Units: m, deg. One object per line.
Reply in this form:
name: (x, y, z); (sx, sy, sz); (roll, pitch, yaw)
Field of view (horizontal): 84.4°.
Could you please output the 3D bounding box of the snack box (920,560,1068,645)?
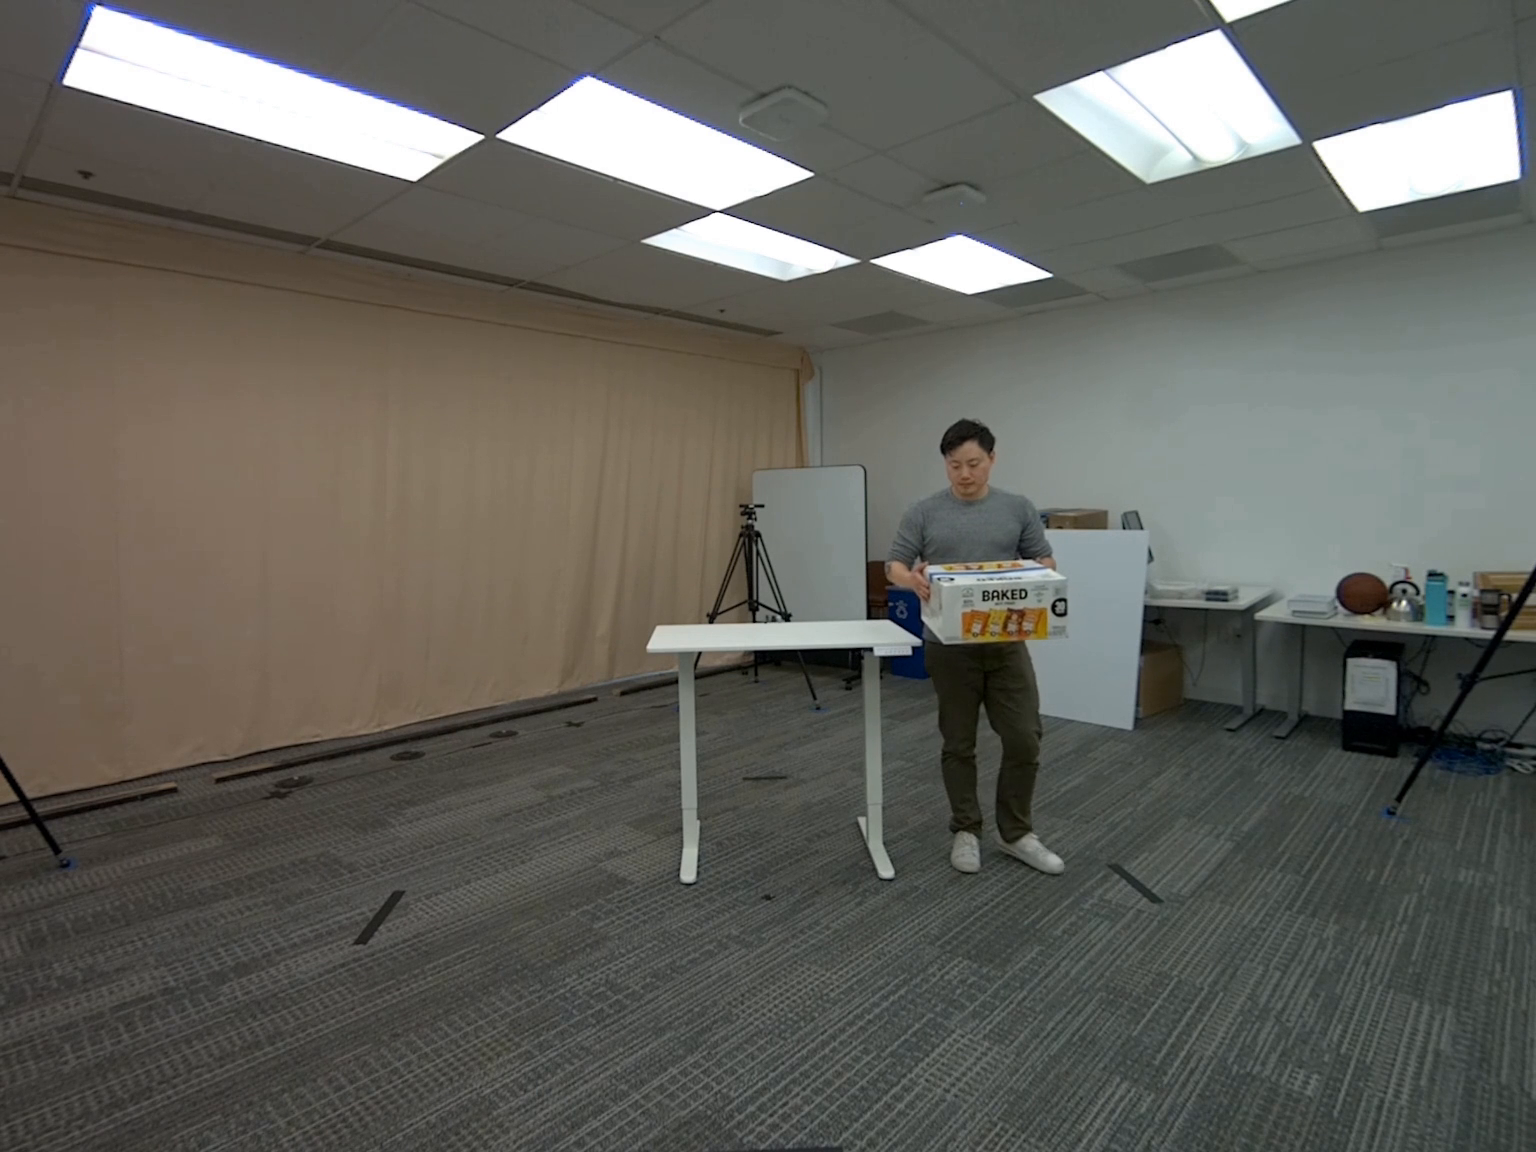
snack box: (0.768, 0.088, 2.906); (0.406, 0.204, 0.342); (-4, 9, 1)
